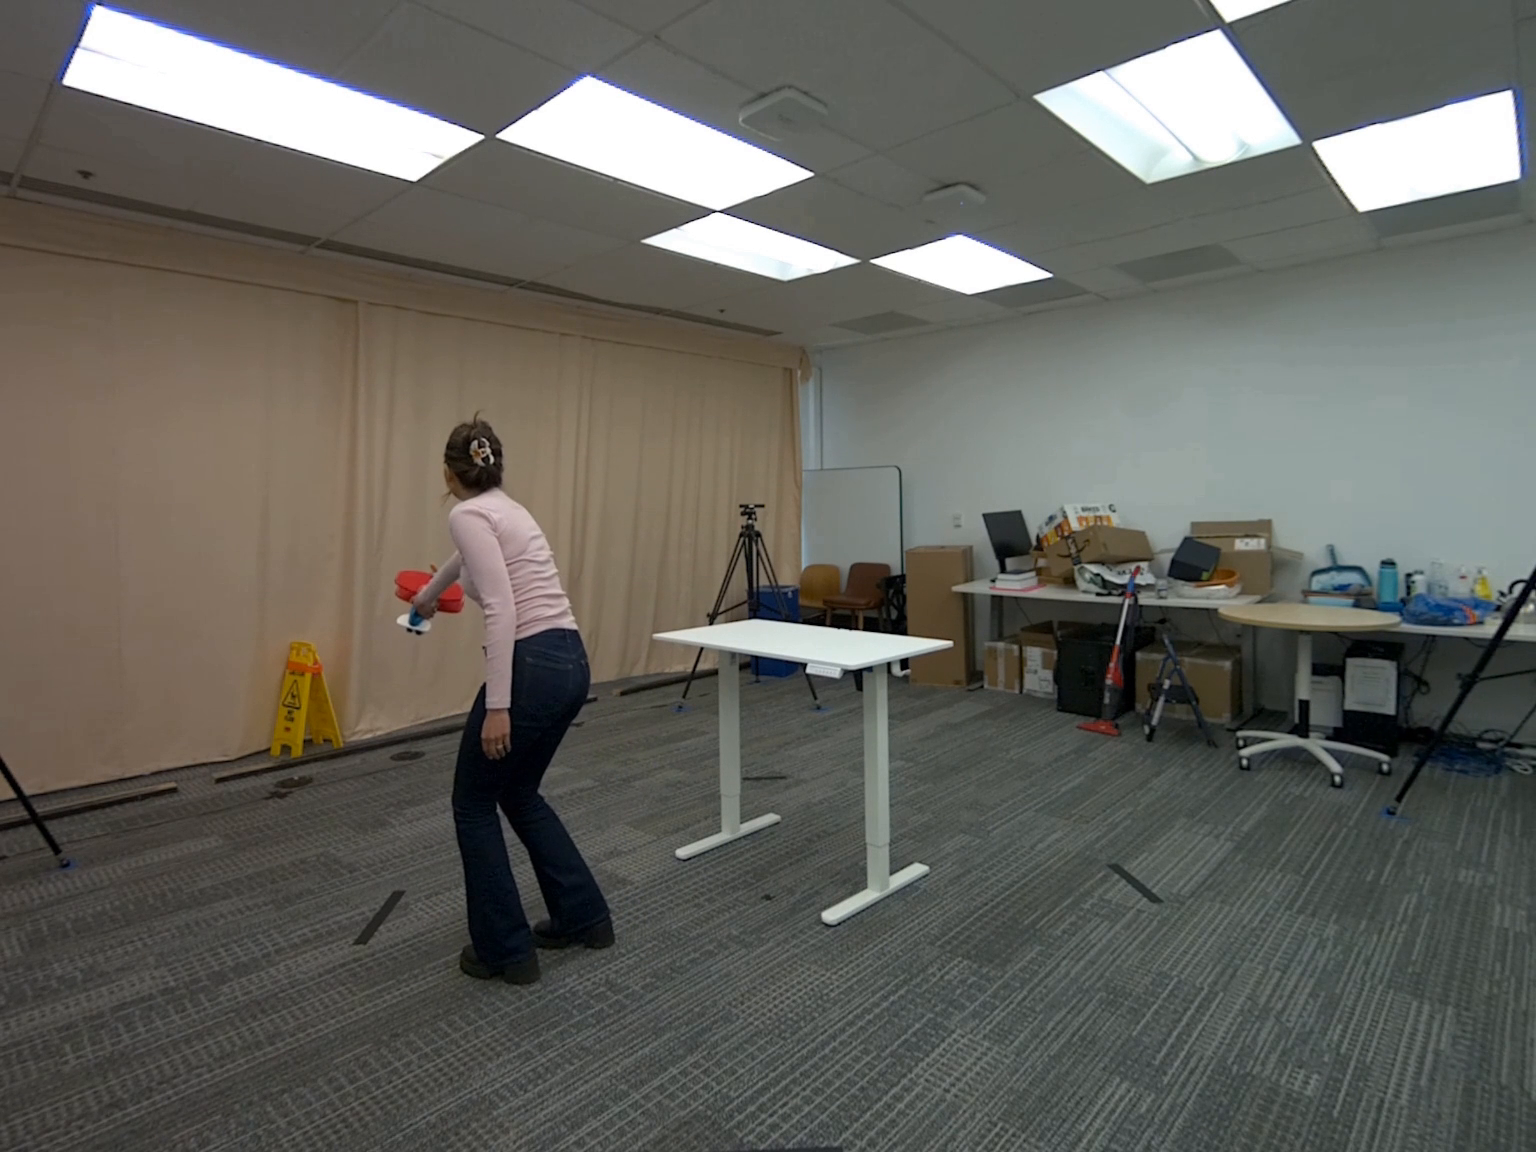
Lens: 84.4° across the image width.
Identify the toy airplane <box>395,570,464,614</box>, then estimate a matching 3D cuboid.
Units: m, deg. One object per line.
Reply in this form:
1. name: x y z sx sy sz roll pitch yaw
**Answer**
1. toy airplane: -1.266 0.102 3.146 0.244 0.155 0.268 -1 39 -28
